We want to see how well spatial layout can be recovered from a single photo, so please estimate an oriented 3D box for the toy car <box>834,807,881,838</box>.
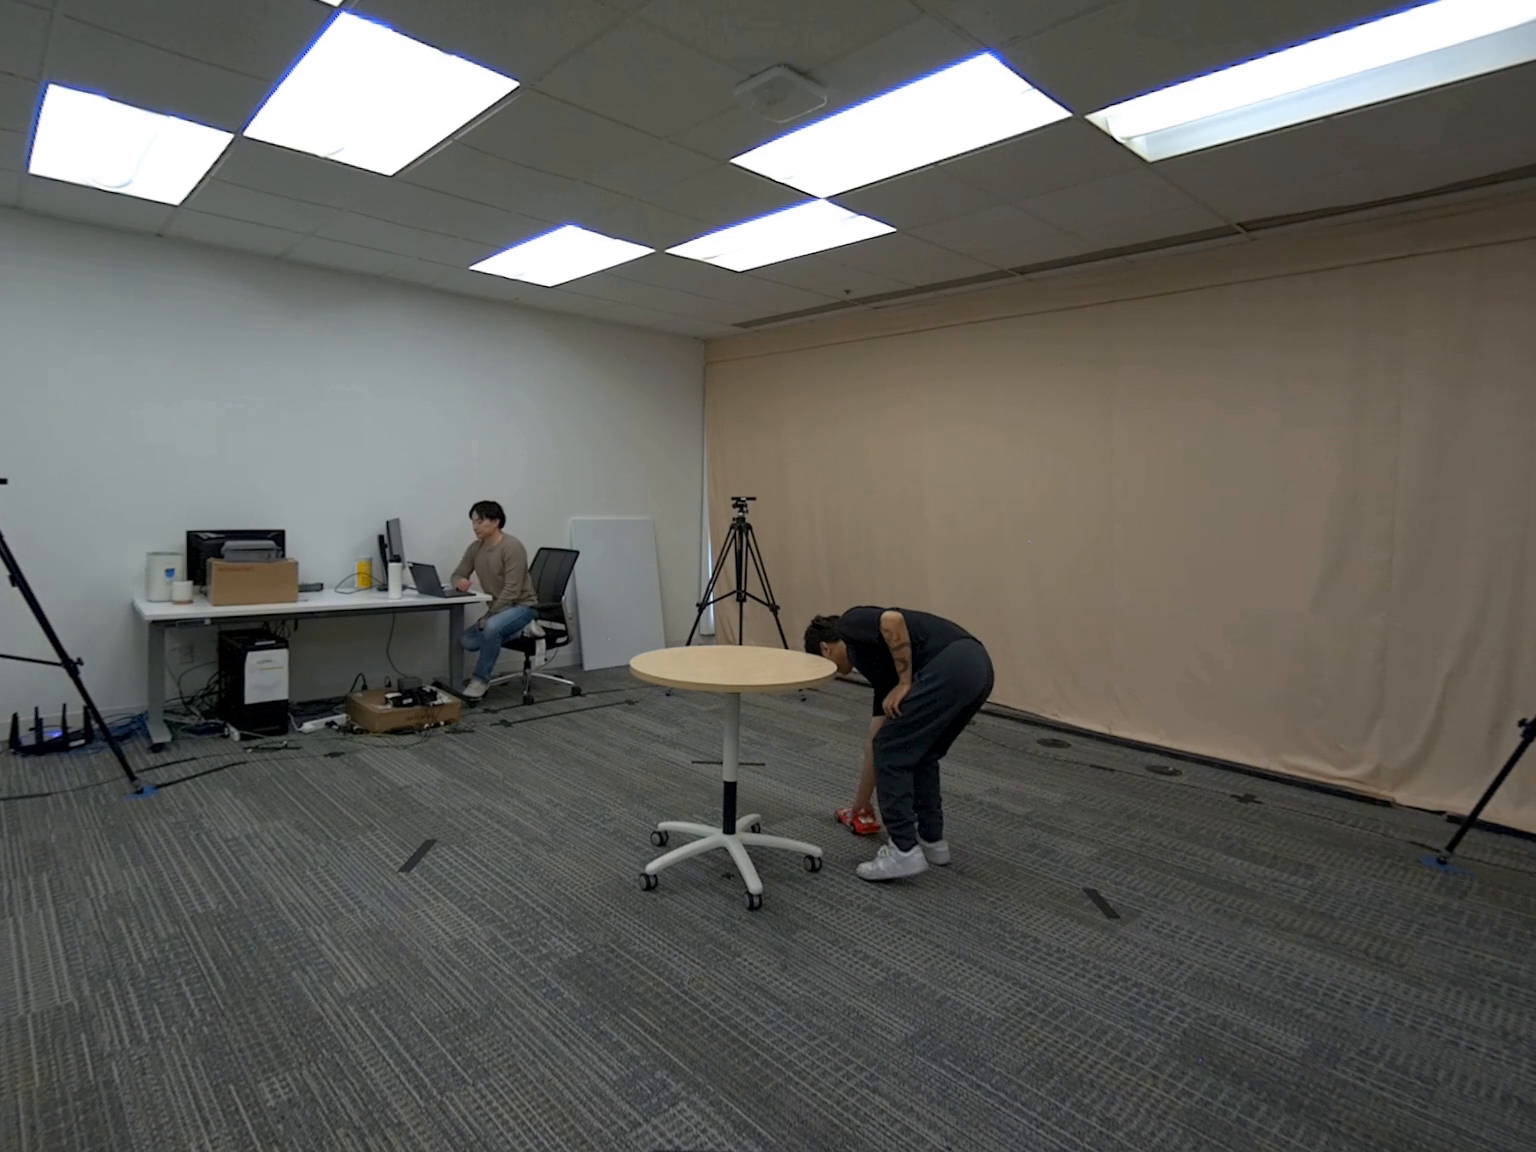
[{"bbox_3d":[0.372,1.047,3.596,0.128,0.083,0.257,1,-6,-21],"label":"toy car"}]
